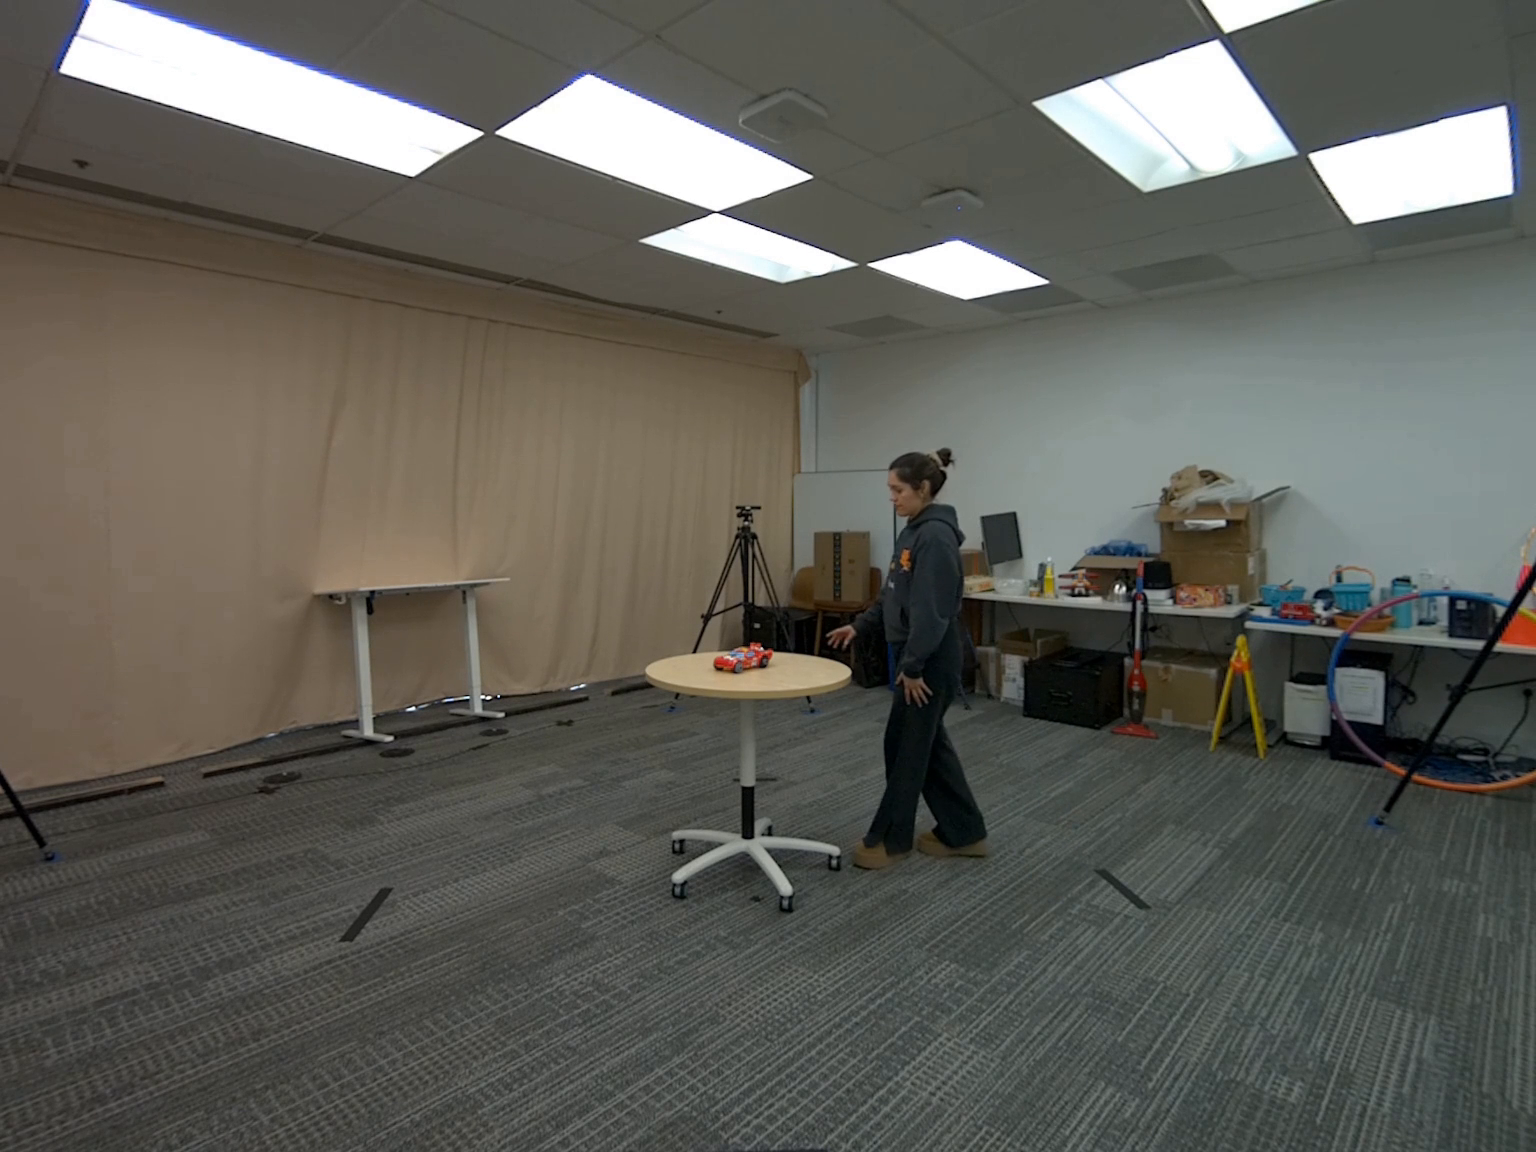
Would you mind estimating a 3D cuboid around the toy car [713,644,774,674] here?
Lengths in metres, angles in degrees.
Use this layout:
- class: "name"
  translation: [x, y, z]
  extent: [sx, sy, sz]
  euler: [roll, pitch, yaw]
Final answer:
- class: "toy car"
  translation: [-0.068, 0.315, 3.170]
  extent: [0.134, 0.082, 0.248]
  euler: [3, 17, 42]
